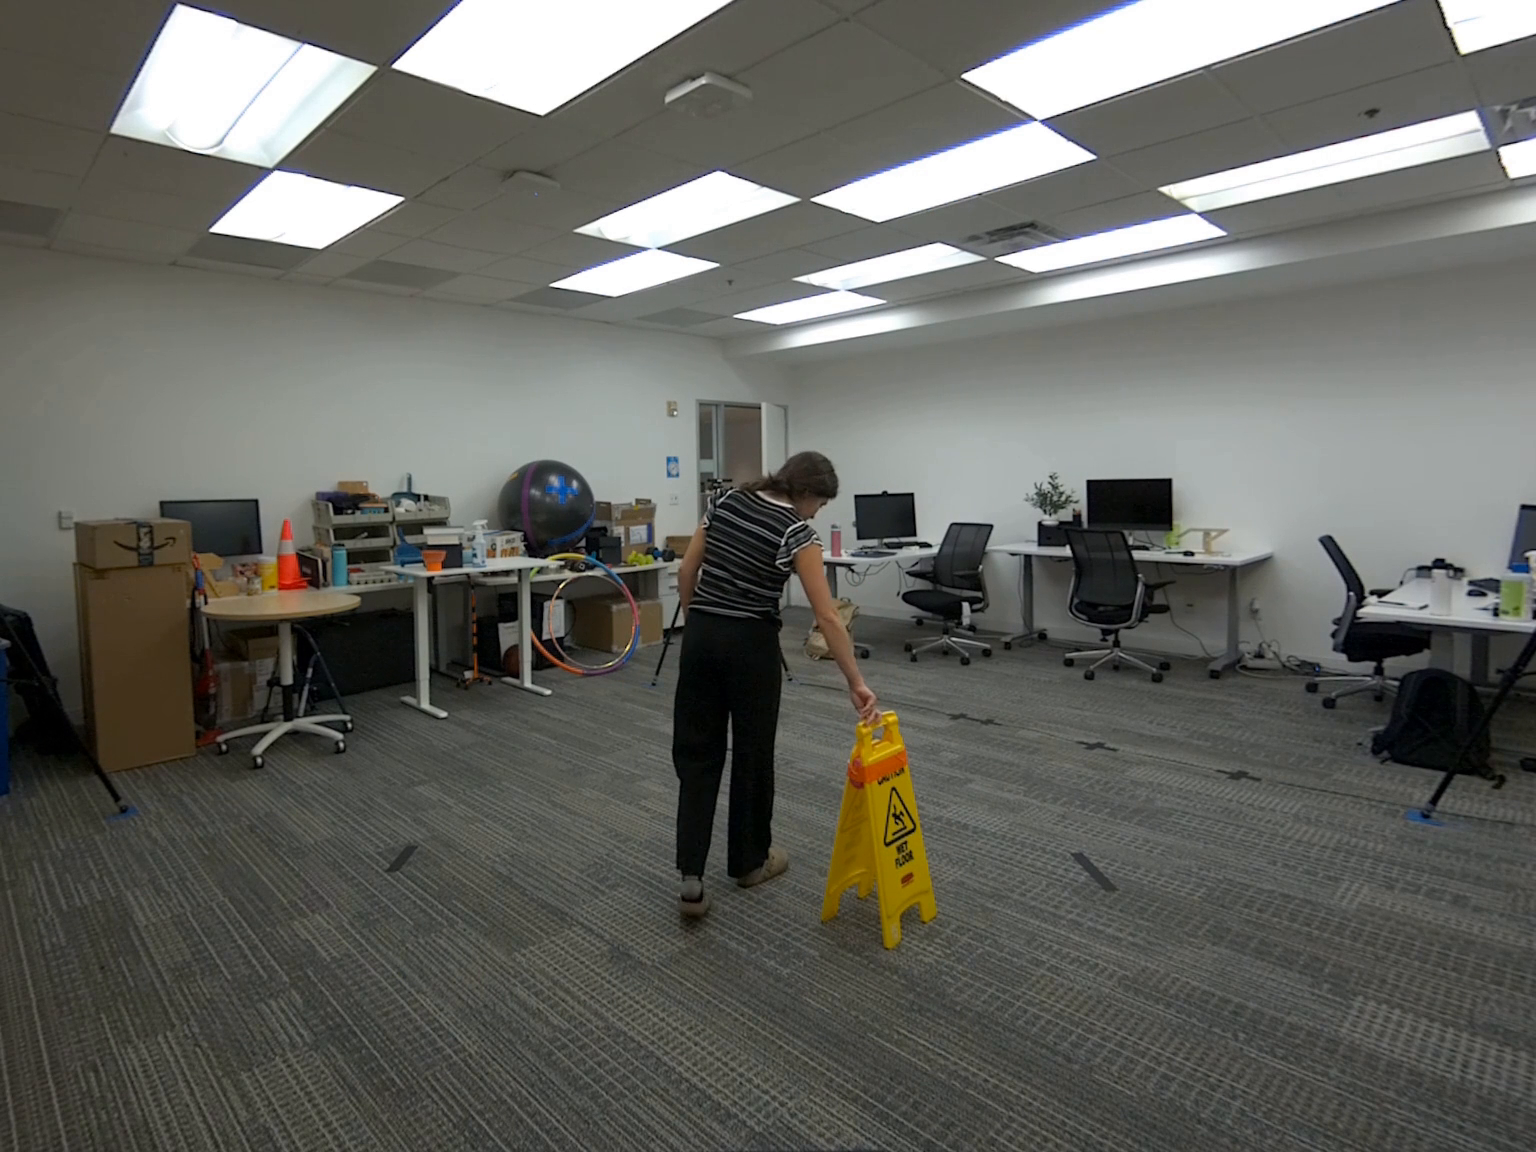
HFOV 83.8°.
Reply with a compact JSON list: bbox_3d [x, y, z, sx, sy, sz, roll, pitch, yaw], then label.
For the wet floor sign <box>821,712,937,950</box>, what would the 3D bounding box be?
[{"bbox_3d":[0.349,0.761,2.681,0.299,0.643,0.275,5,7,42],"label":"wet floor sign"}]
